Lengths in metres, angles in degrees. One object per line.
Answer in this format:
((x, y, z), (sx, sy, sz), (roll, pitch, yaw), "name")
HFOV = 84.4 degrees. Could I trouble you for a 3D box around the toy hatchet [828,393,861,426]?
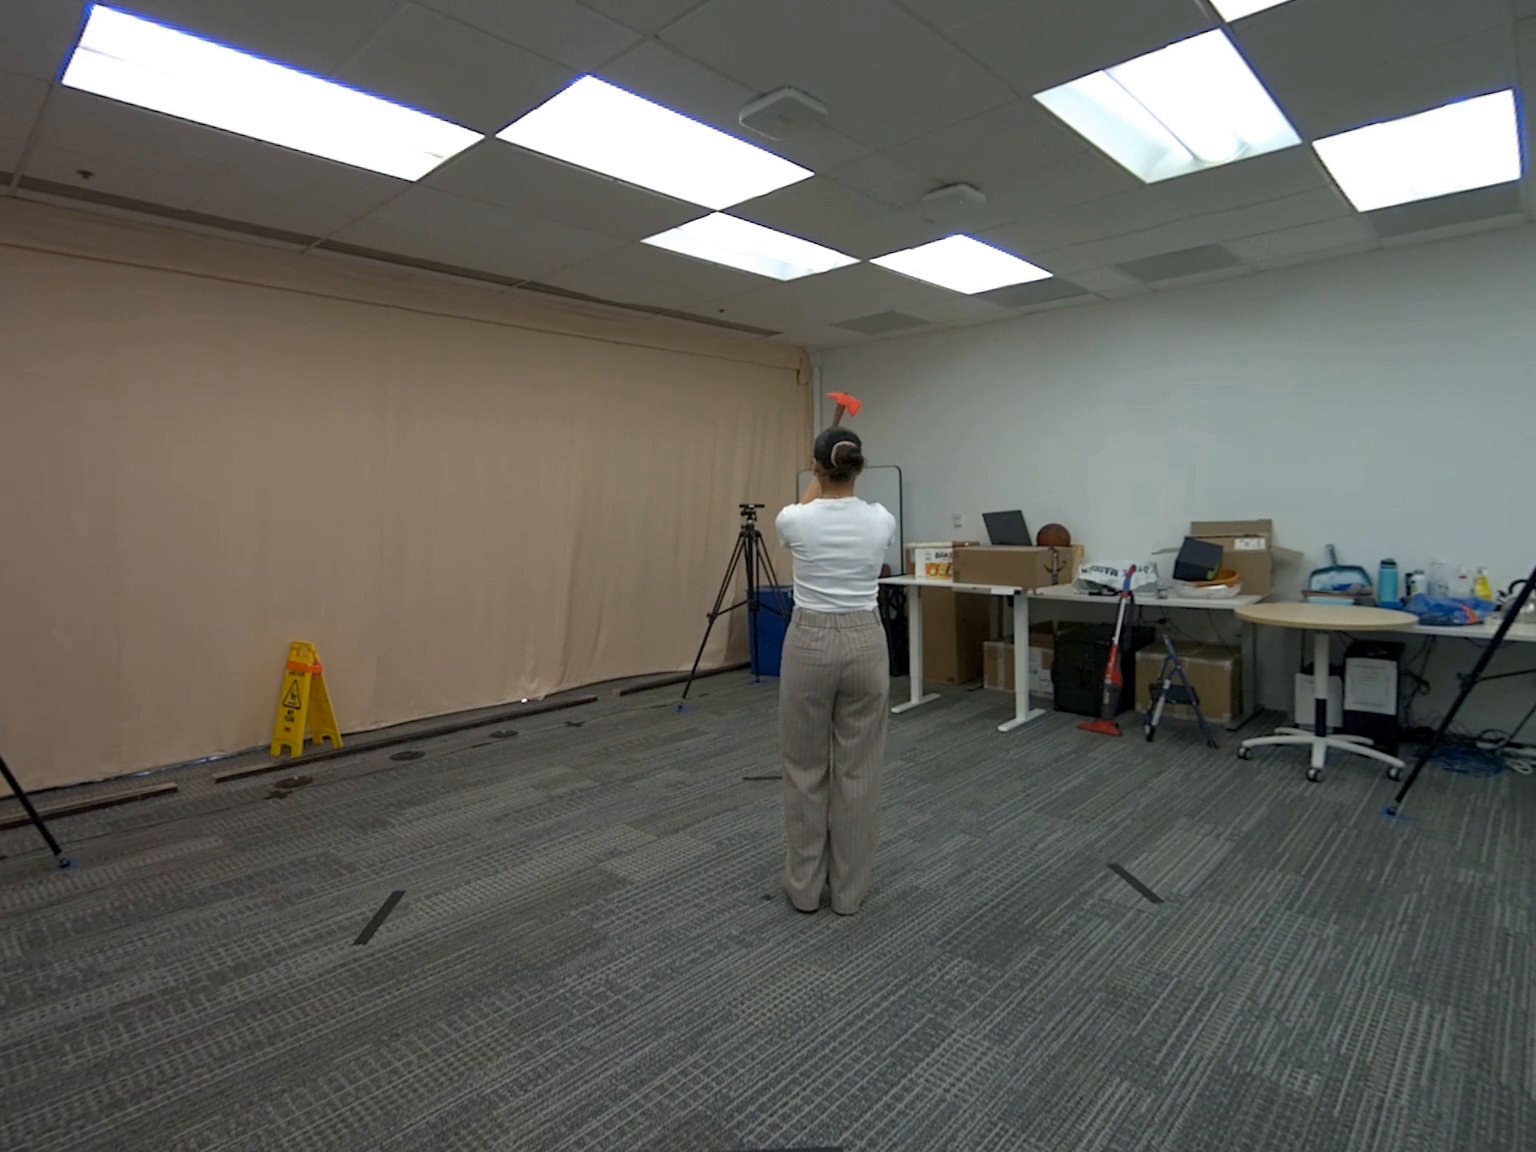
((0.288, -0.559, 3.156), (0.131, 0.270, 0.029), (-2, 2, 0), "toy hatchet")
